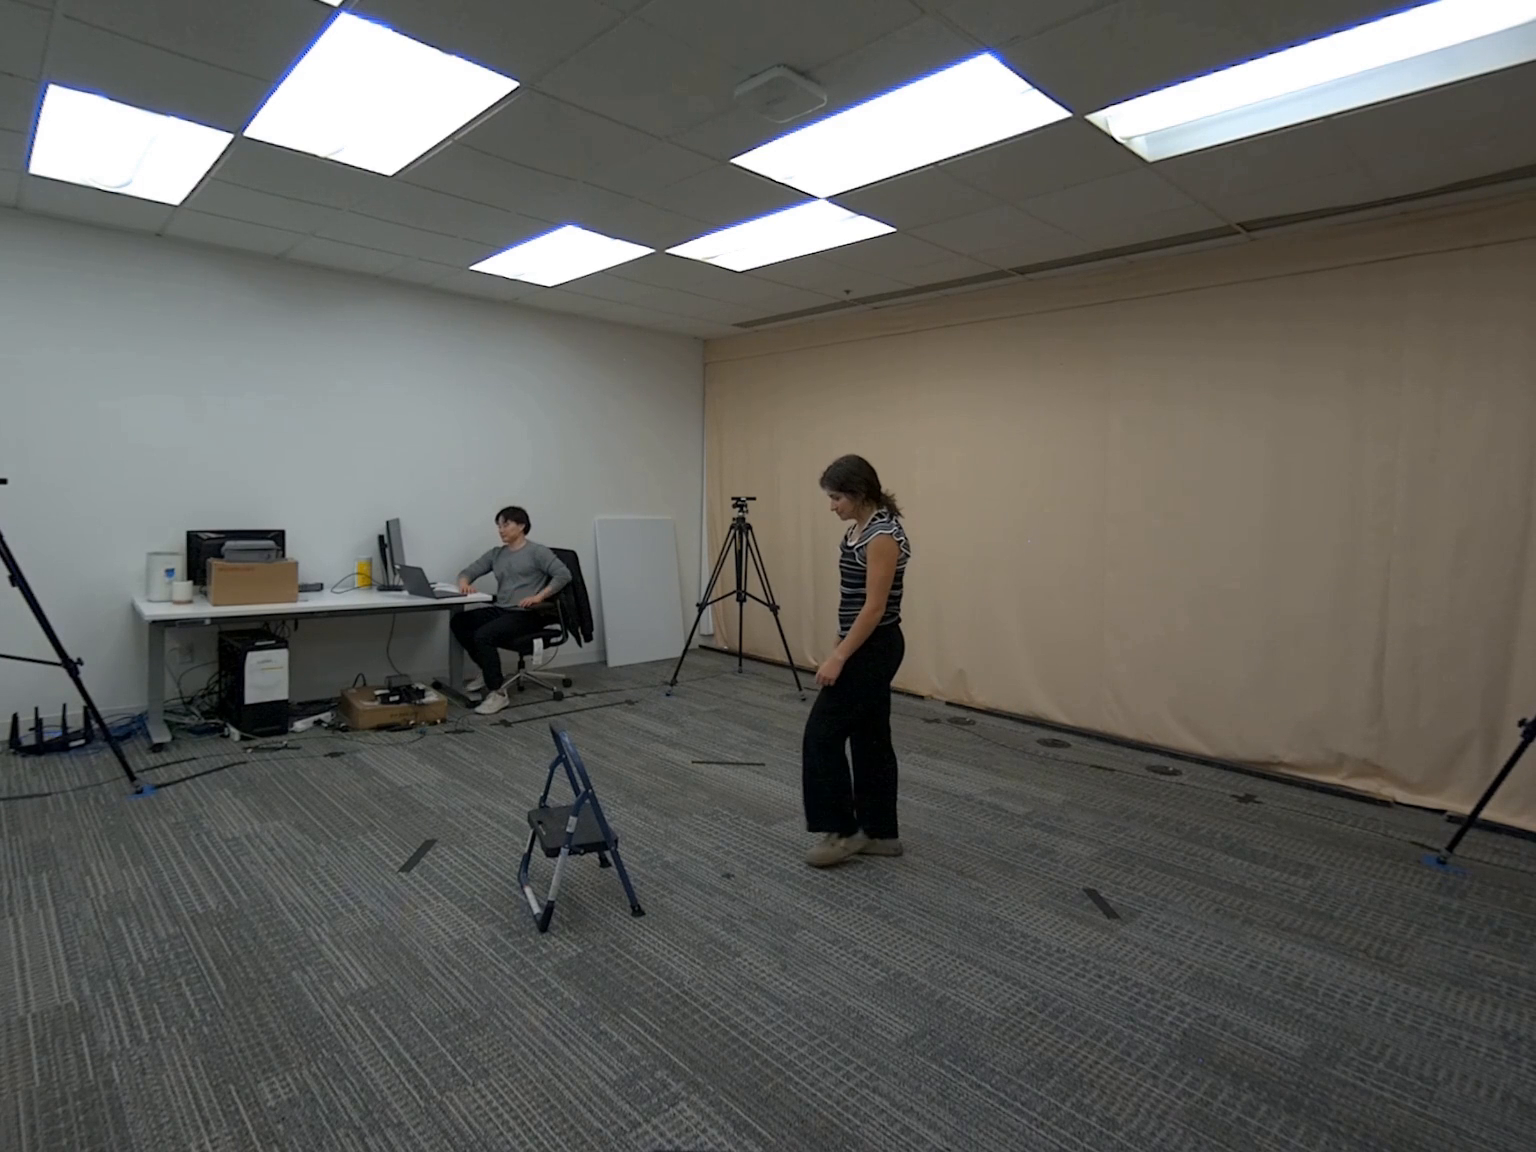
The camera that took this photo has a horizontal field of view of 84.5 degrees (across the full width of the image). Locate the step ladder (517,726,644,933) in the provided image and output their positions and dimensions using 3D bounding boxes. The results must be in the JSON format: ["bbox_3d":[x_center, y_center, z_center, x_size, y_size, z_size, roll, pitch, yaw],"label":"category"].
[{"bbox_3d":[-0.657,0.811,2.902,0.343,0.604,0.439,-1,4,-26],"label":"step ladder"}]
